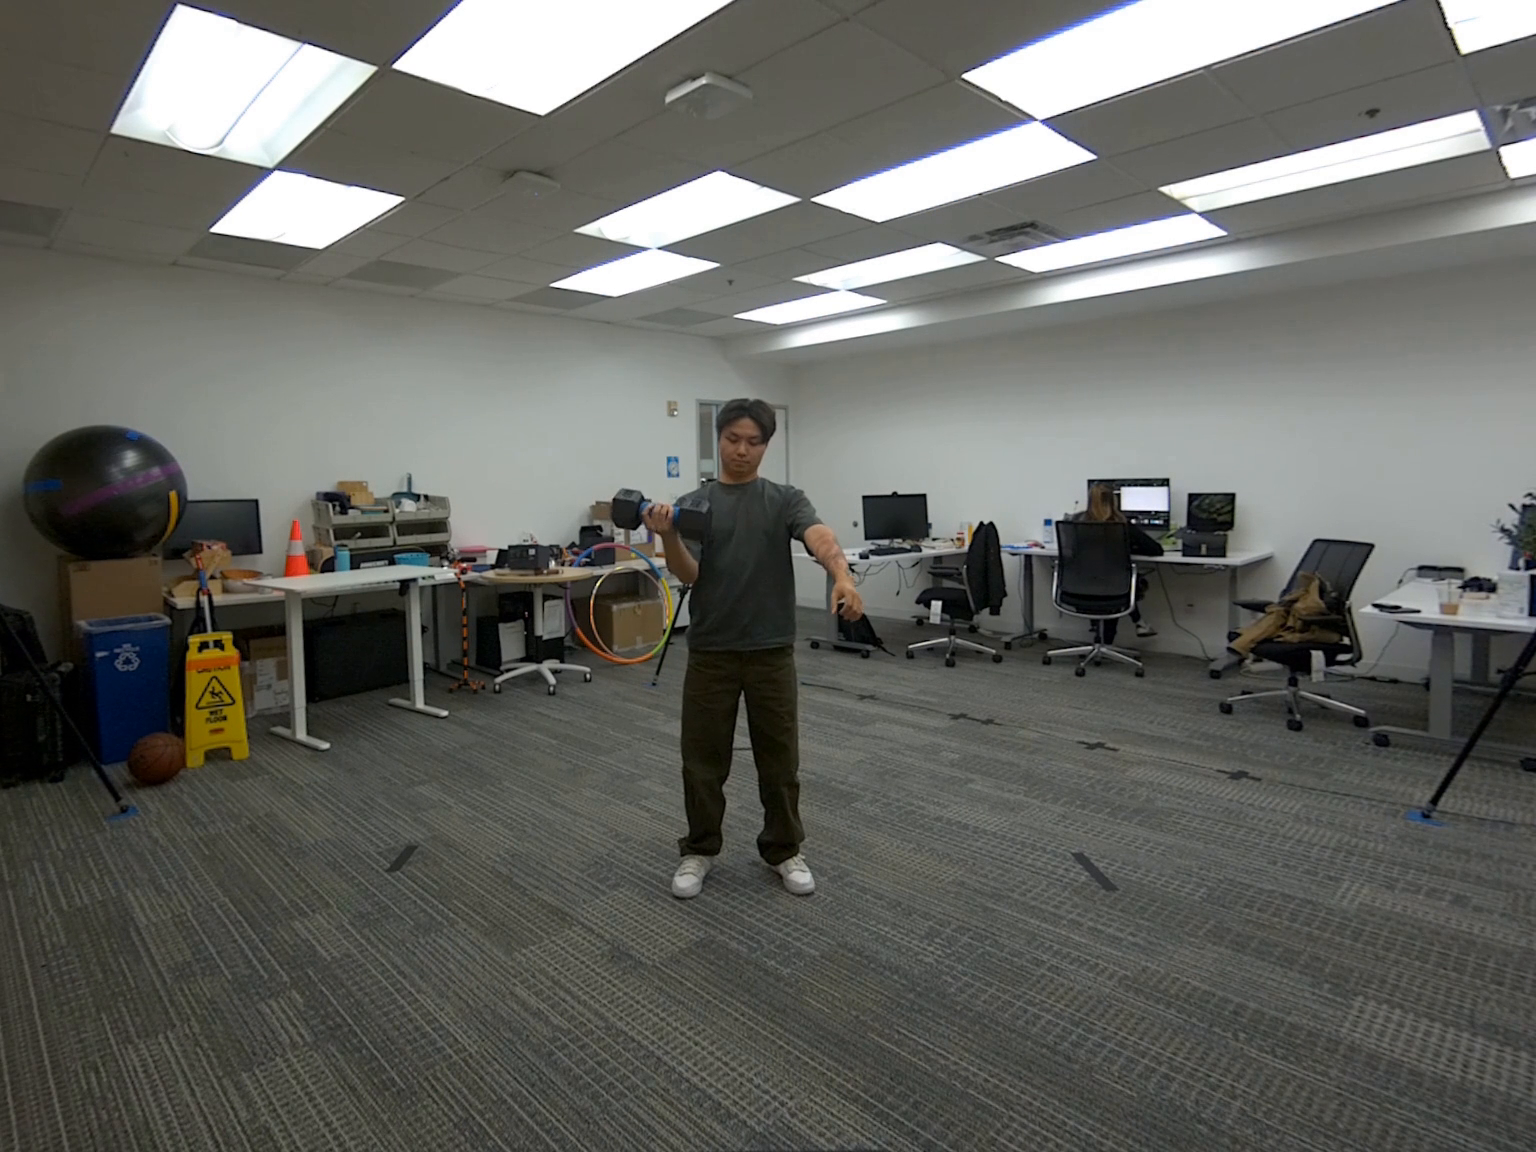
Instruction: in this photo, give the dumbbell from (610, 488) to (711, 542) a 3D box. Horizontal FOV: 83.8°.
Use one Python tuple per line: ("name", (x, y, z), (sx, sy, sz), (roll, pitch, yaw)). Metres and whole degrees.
("dumbbell", (-0.313, -0.192, 2.566), (0.297, 0.122, 0.107), (7, 4, 12))
